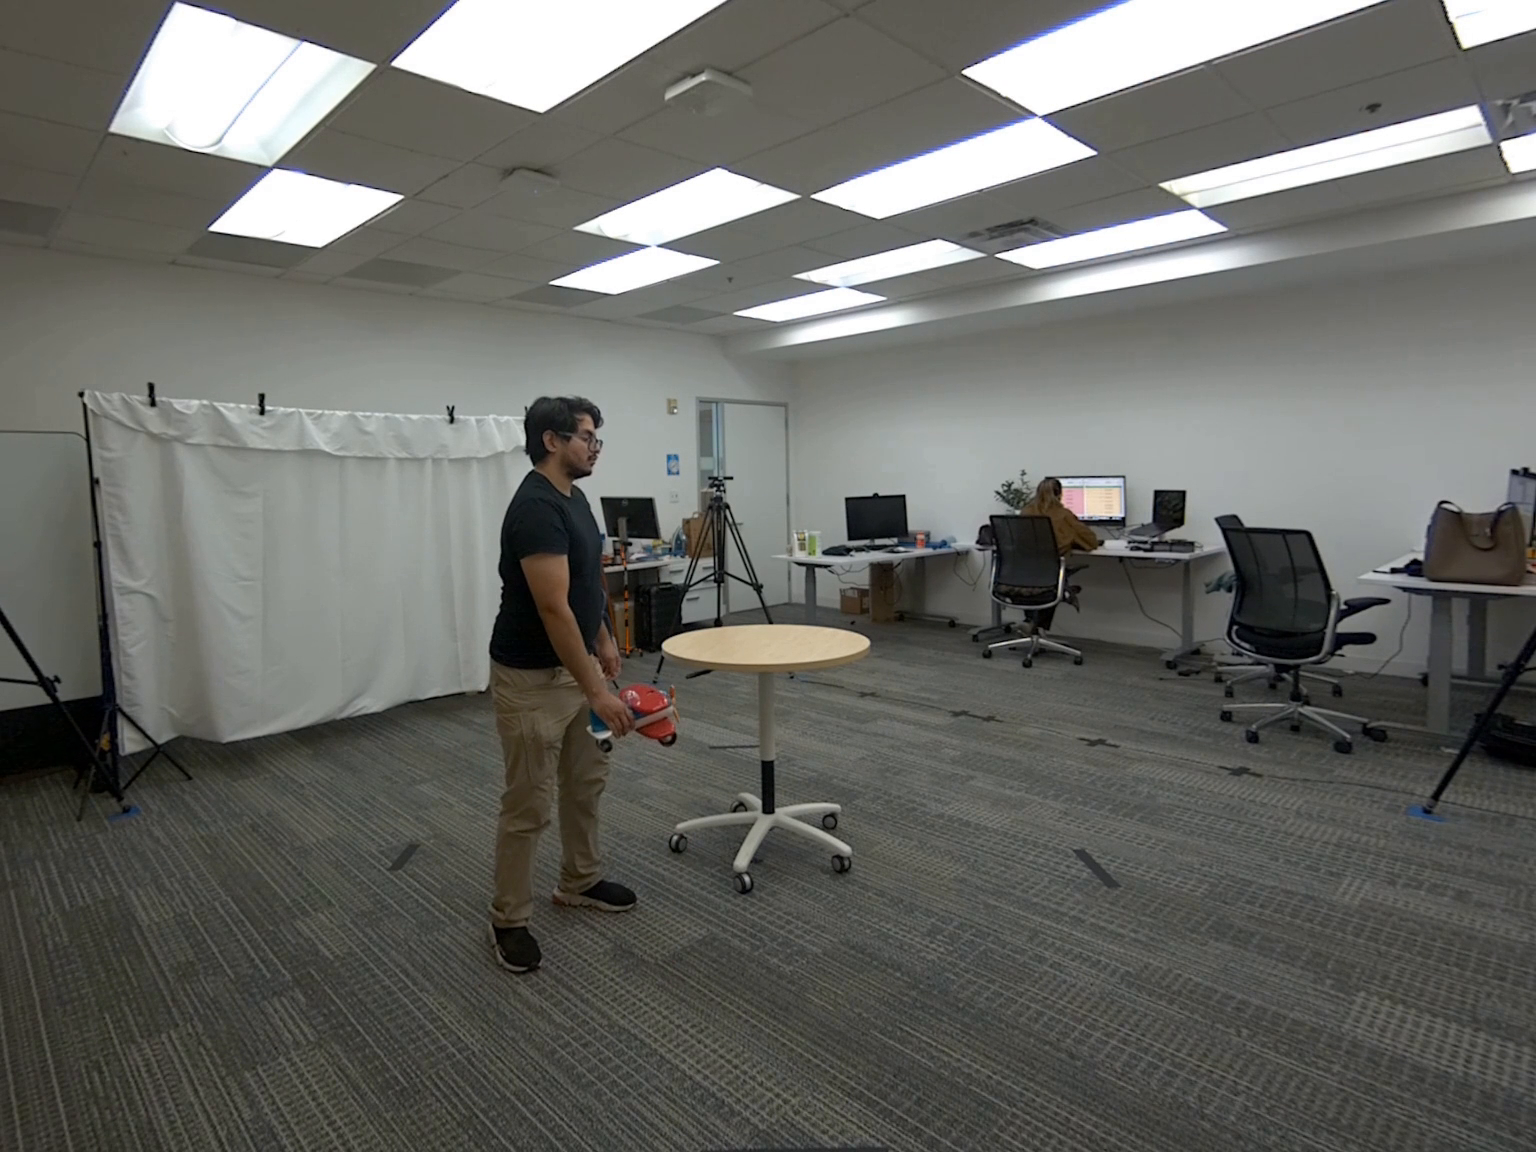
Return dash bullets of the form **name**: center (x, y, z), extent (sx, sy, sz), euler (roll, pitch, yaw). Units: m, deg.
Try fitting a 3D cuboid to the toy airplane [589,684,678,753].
- **toy airplane**: center (-0.377, 0.414, 2.442), extent (0.259, 0.156, 0.253), euler (5, 8, 37)
